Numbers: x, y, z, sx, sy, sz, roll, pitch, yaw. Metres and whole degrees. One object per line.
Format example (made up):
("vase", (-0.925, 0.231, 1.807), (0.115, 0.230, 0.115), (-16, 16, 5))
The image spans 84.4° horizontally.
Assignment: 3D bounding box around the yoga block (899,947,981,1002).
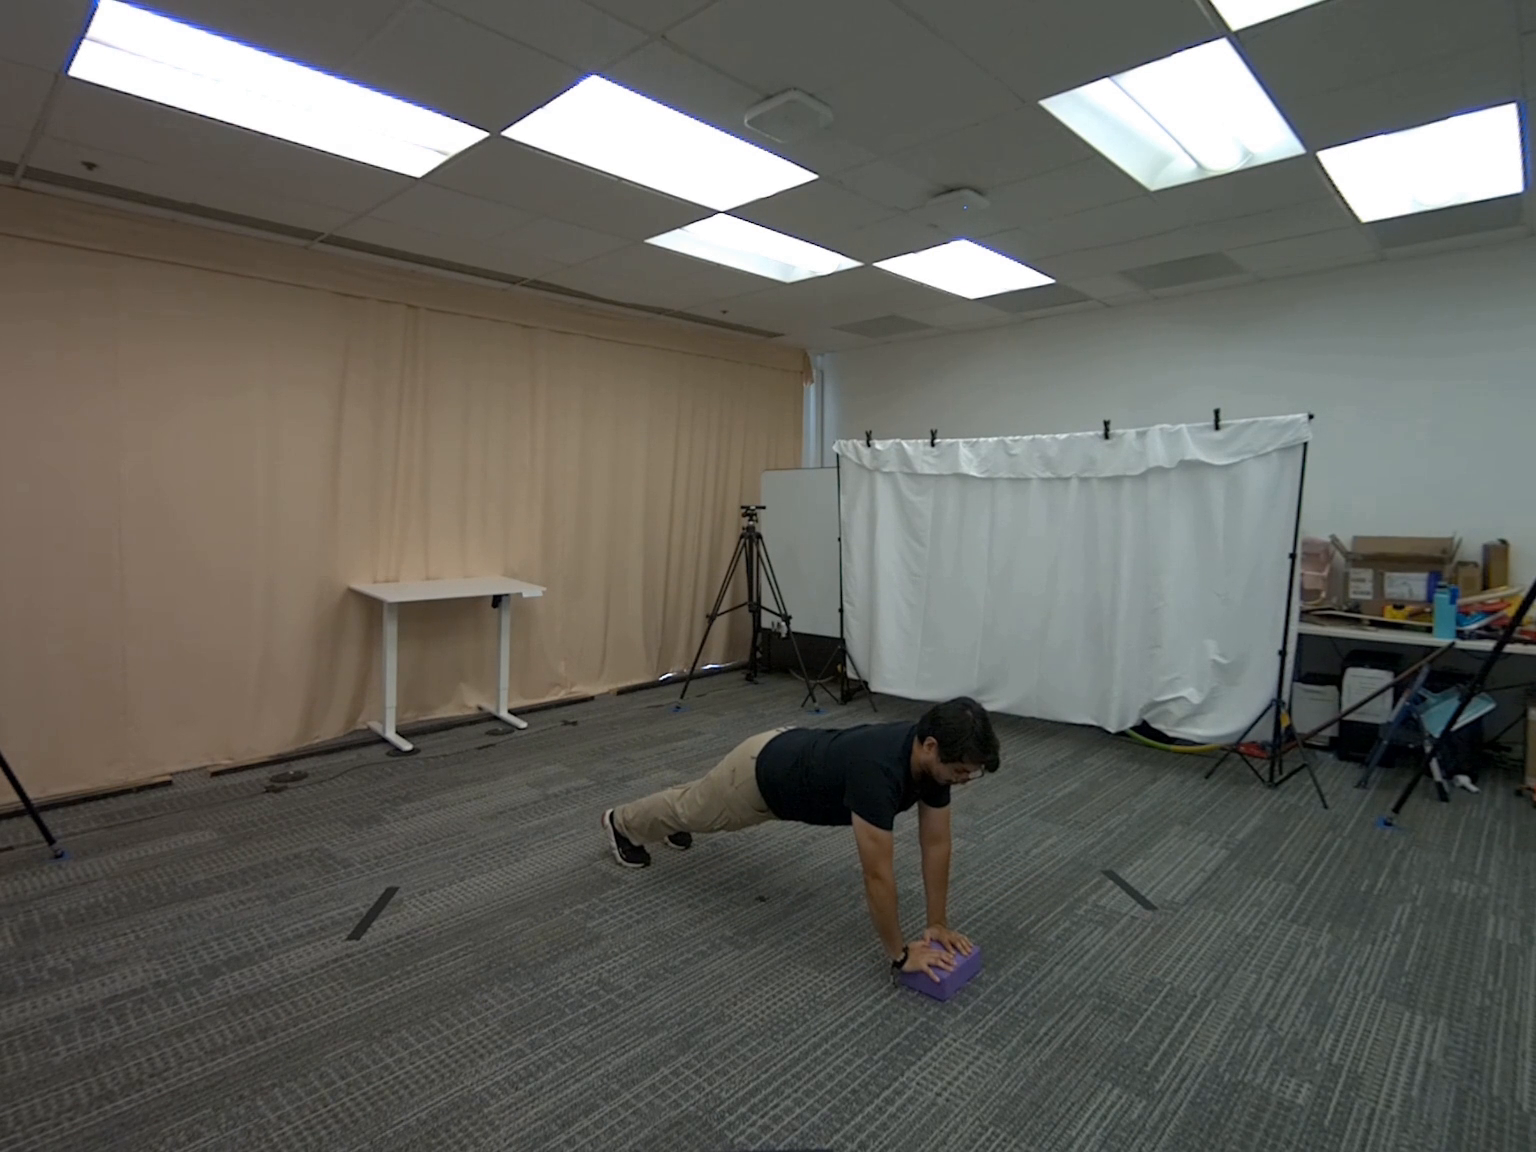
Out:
("yoga block", (0.515, 1.149, 2.482), (0.154, 0.076, 0.222), (6, 7, 41))
